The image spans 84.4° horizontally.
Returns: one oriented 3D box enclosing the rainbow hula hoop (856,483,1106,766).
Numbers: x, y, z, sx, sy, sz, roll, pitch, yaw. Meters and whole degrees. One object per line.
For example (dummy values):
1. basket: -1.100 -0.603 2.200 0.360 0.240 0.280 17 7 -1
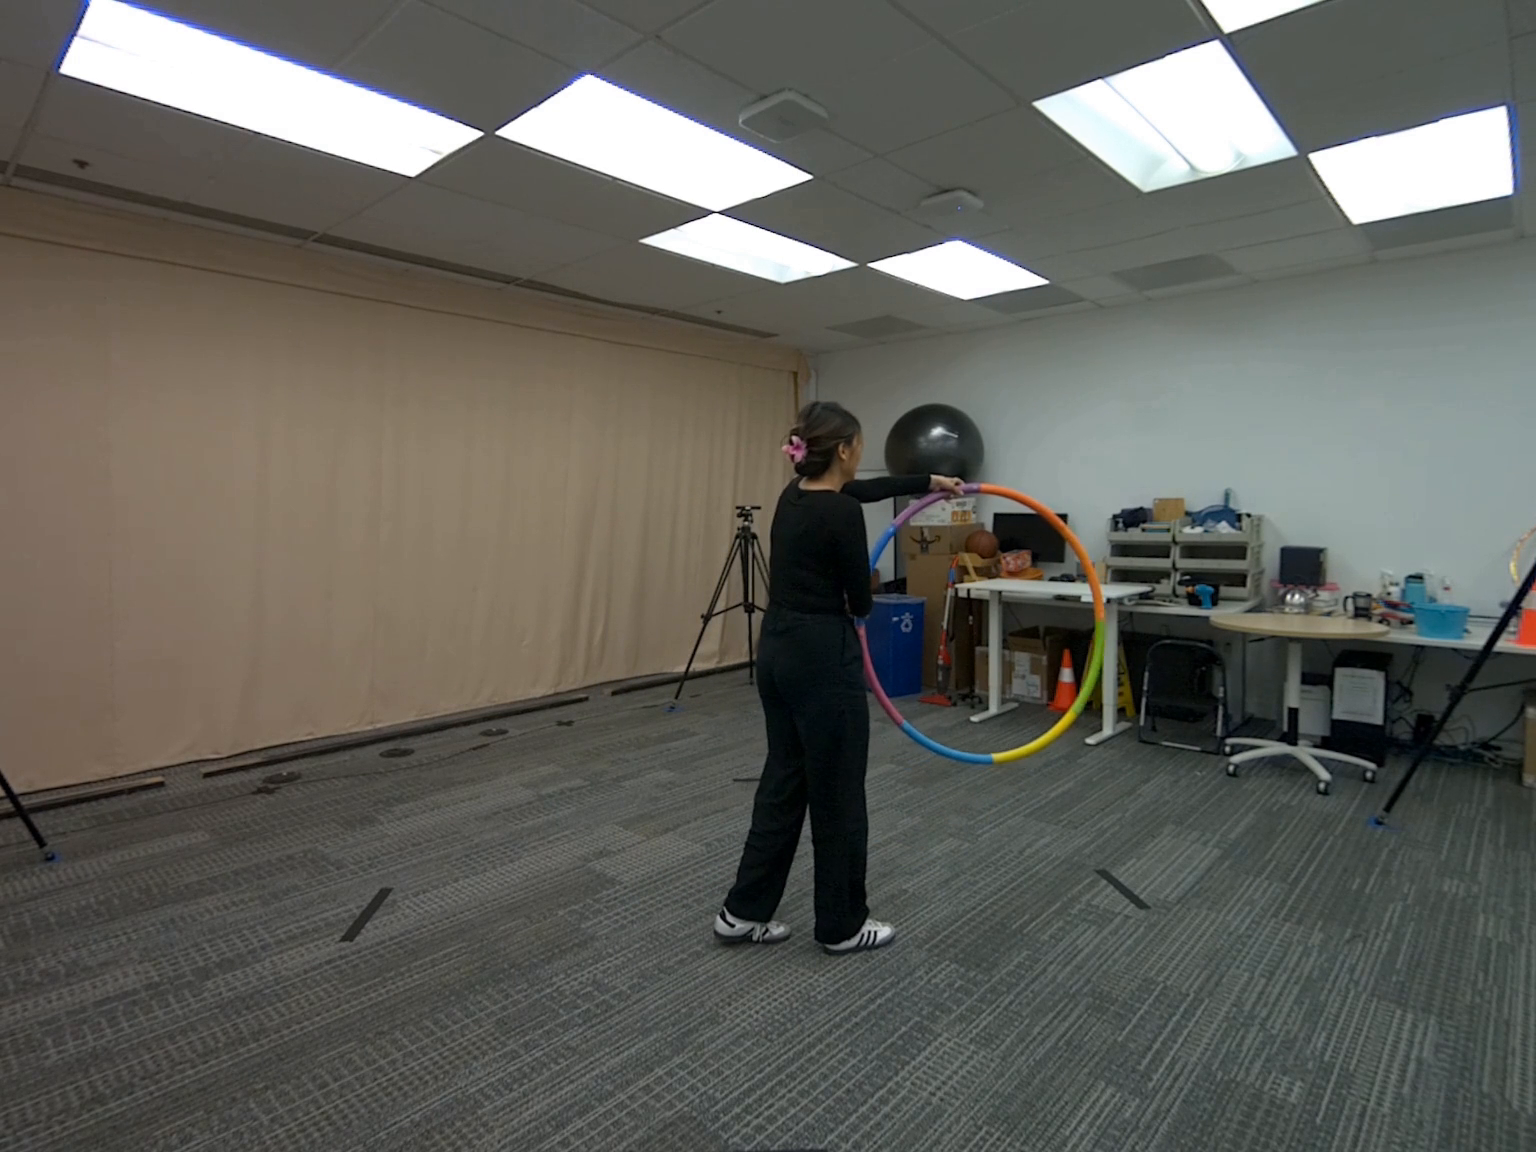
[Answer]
1. rainbow hula hoop: 0.774 0.167 3.000 0.972 0.988 0.052 -1 -5 -12
